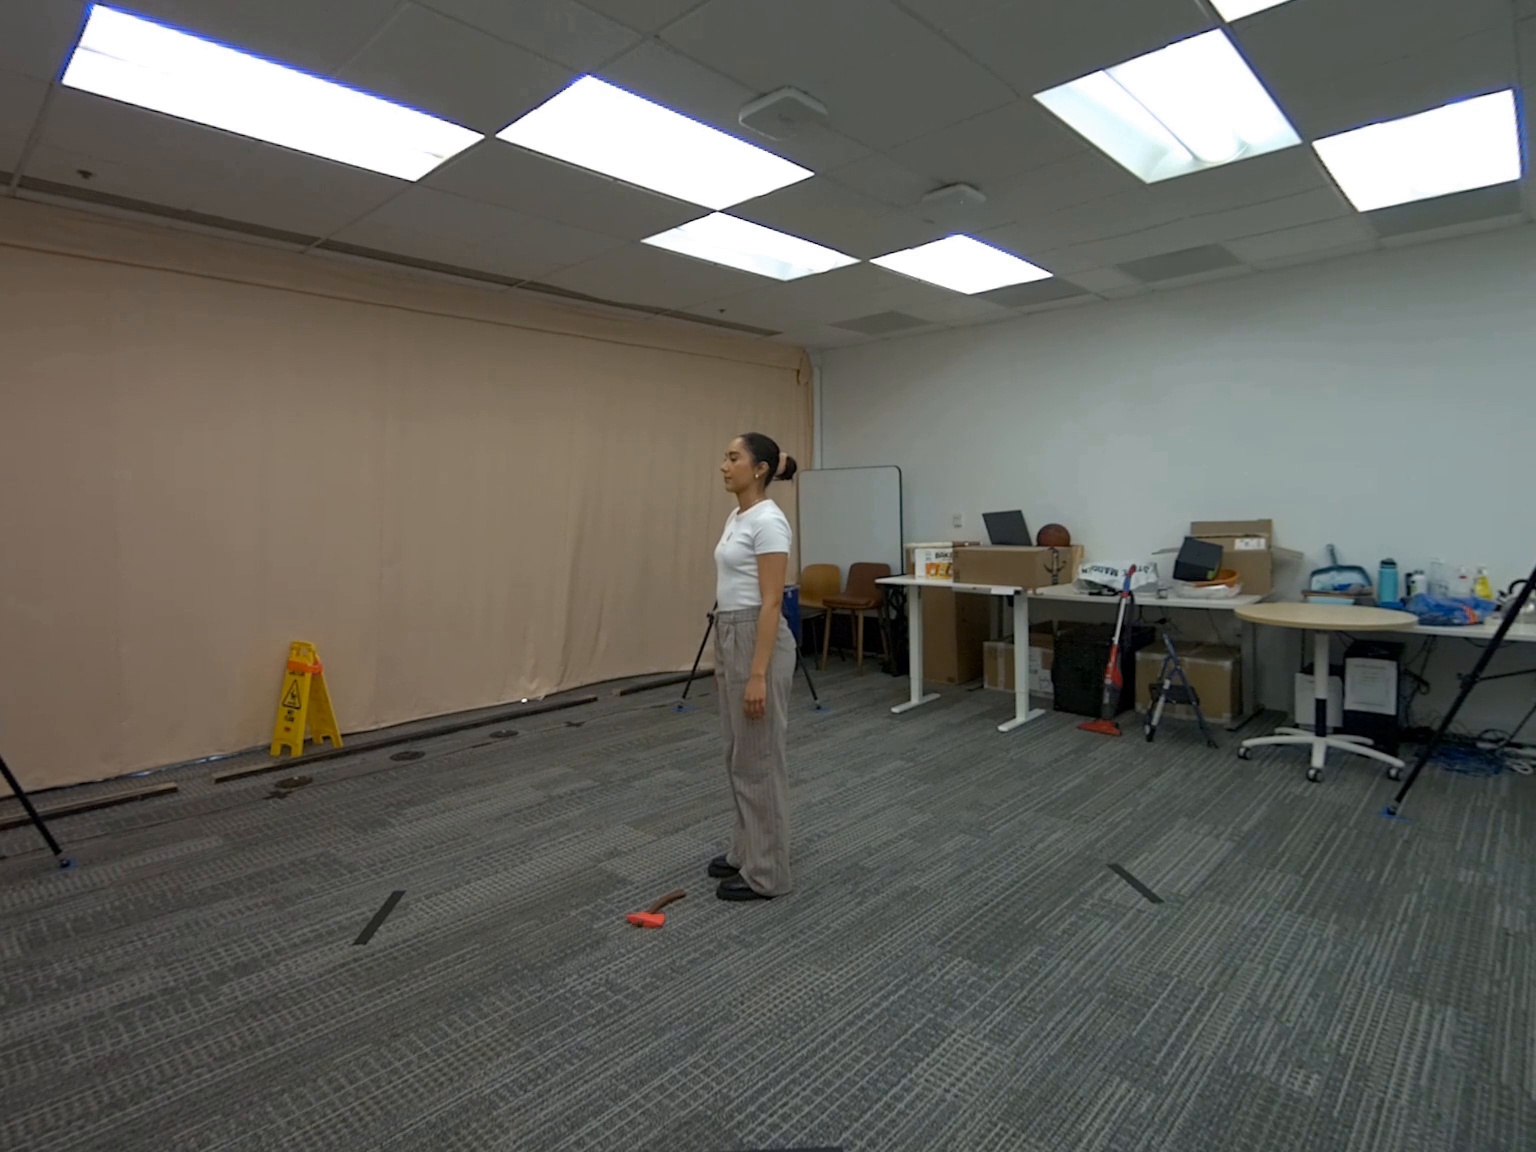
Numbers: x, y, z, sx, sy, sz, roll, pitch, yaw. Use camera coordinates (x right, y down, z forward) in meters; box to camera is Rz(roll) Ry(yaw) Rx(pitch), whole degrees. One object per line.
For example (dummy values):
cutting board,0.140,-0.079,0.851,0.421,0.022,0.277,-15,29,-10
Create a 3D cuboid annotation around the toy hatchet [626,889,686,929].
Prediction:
toy hatchet,-0.353,1.145,2.883,0.135,0.029,0.262,0,4,38
